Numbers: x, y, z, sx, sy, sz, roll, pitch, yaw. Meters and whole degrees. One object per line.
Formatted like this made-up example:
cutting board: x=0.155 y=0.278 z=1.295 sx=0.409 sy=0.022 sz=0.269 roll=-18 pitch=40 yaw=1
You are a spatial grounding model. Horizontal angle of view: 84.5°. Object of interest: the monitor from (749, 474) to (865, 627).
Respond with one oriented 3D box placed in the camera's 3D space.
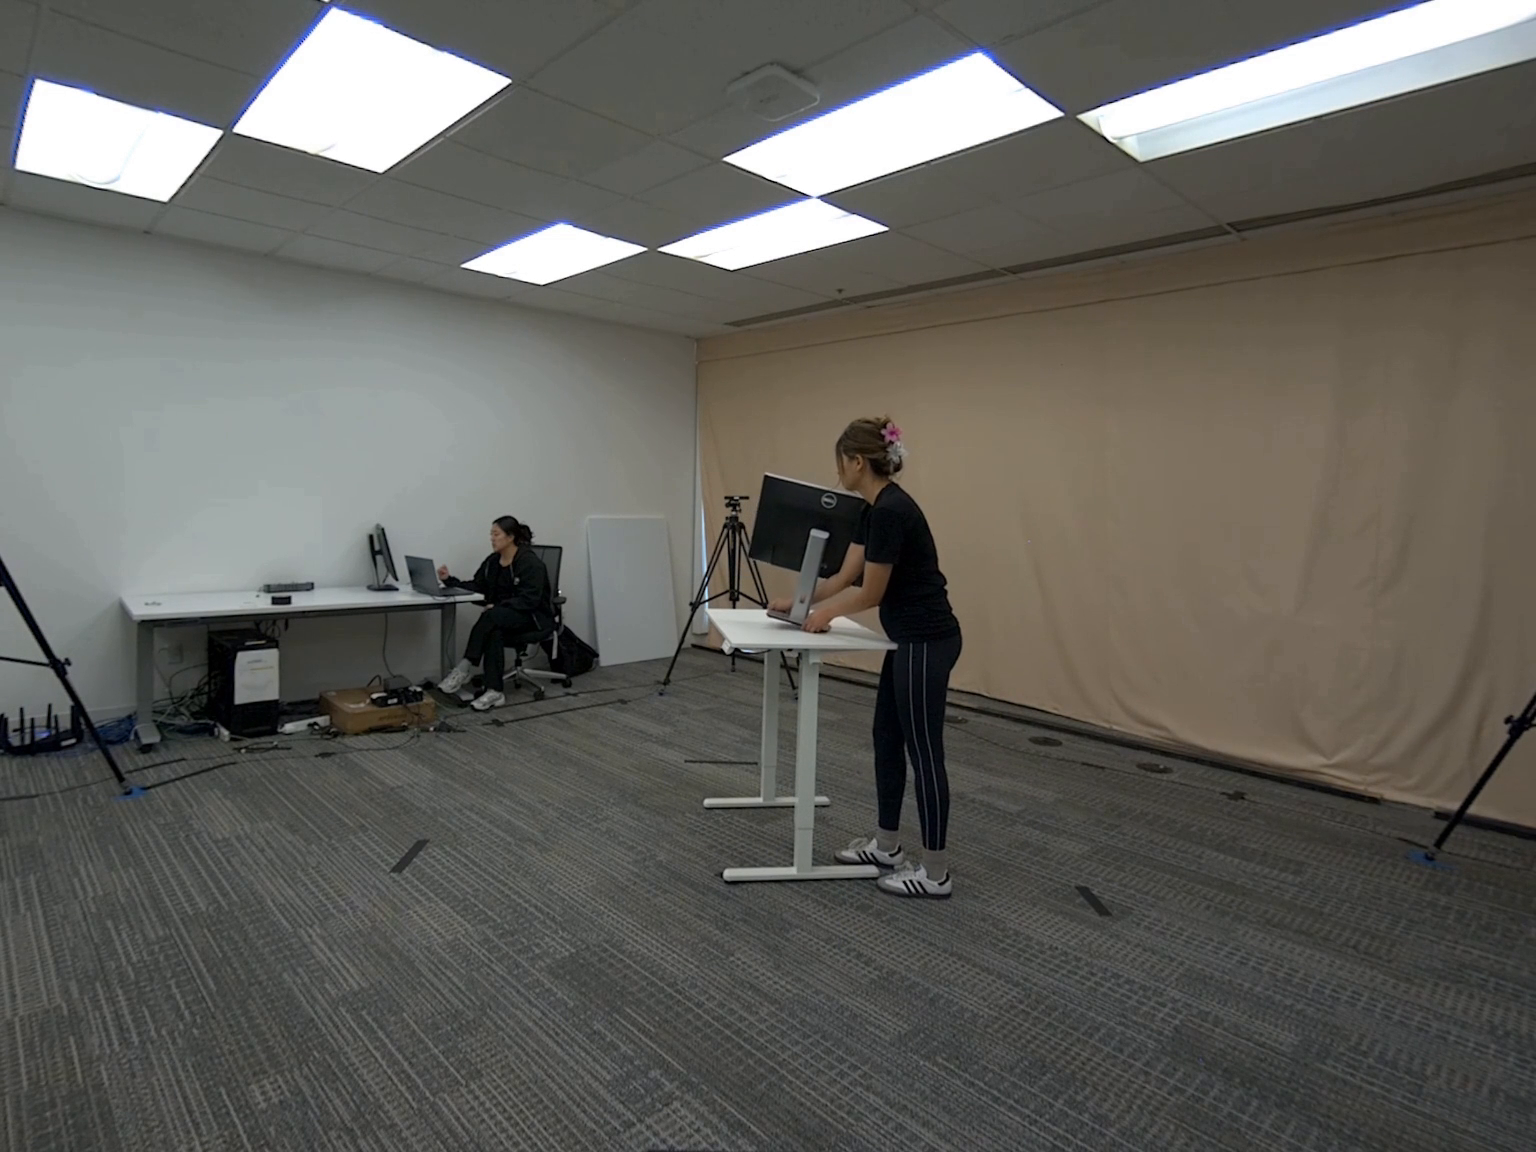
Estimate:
monitor: x=0.177 y=-0.074 z=3.322 sx=0.545 sy=0.521 sz=0.186 roll=17 pitch=7 yaw=10
